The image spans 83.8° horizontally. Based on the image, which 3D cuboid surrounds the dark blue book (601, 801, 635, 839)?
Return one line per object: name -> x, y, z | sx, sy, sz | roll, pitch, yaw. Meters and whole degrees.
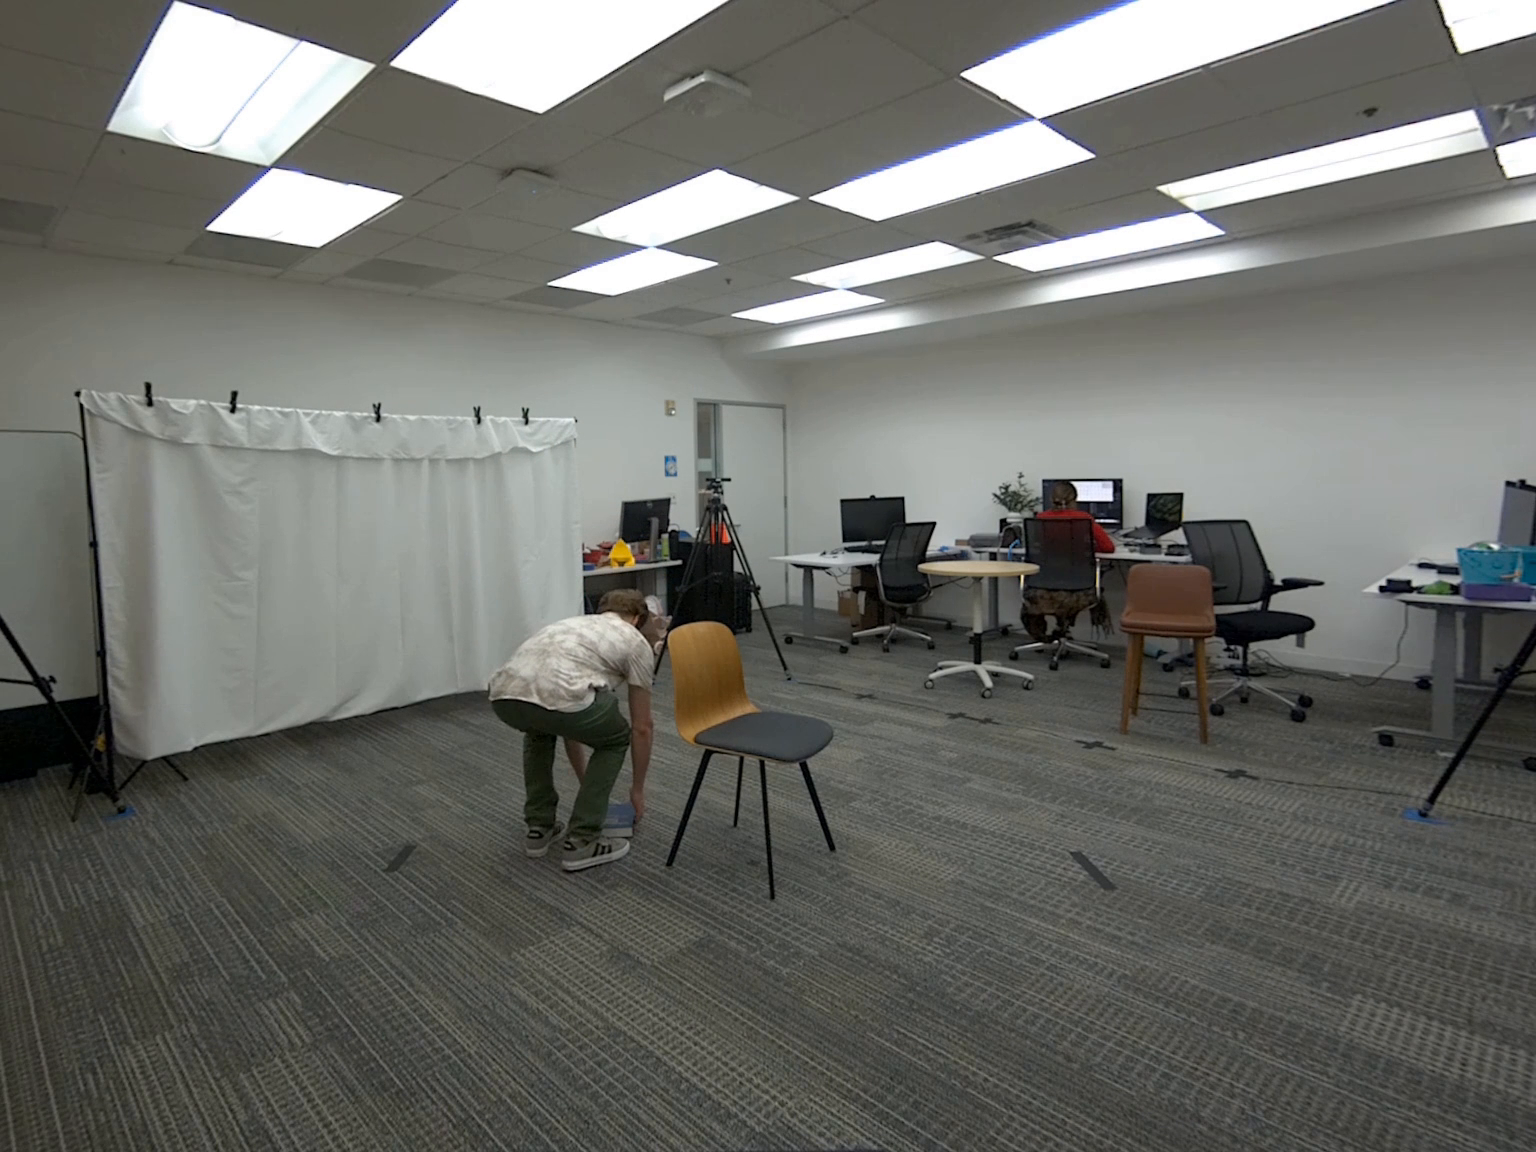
dark blue book -> -0.618, 0.987, 3.457 | 0.163, 0.045, 0.247 | -1, 7, -5
